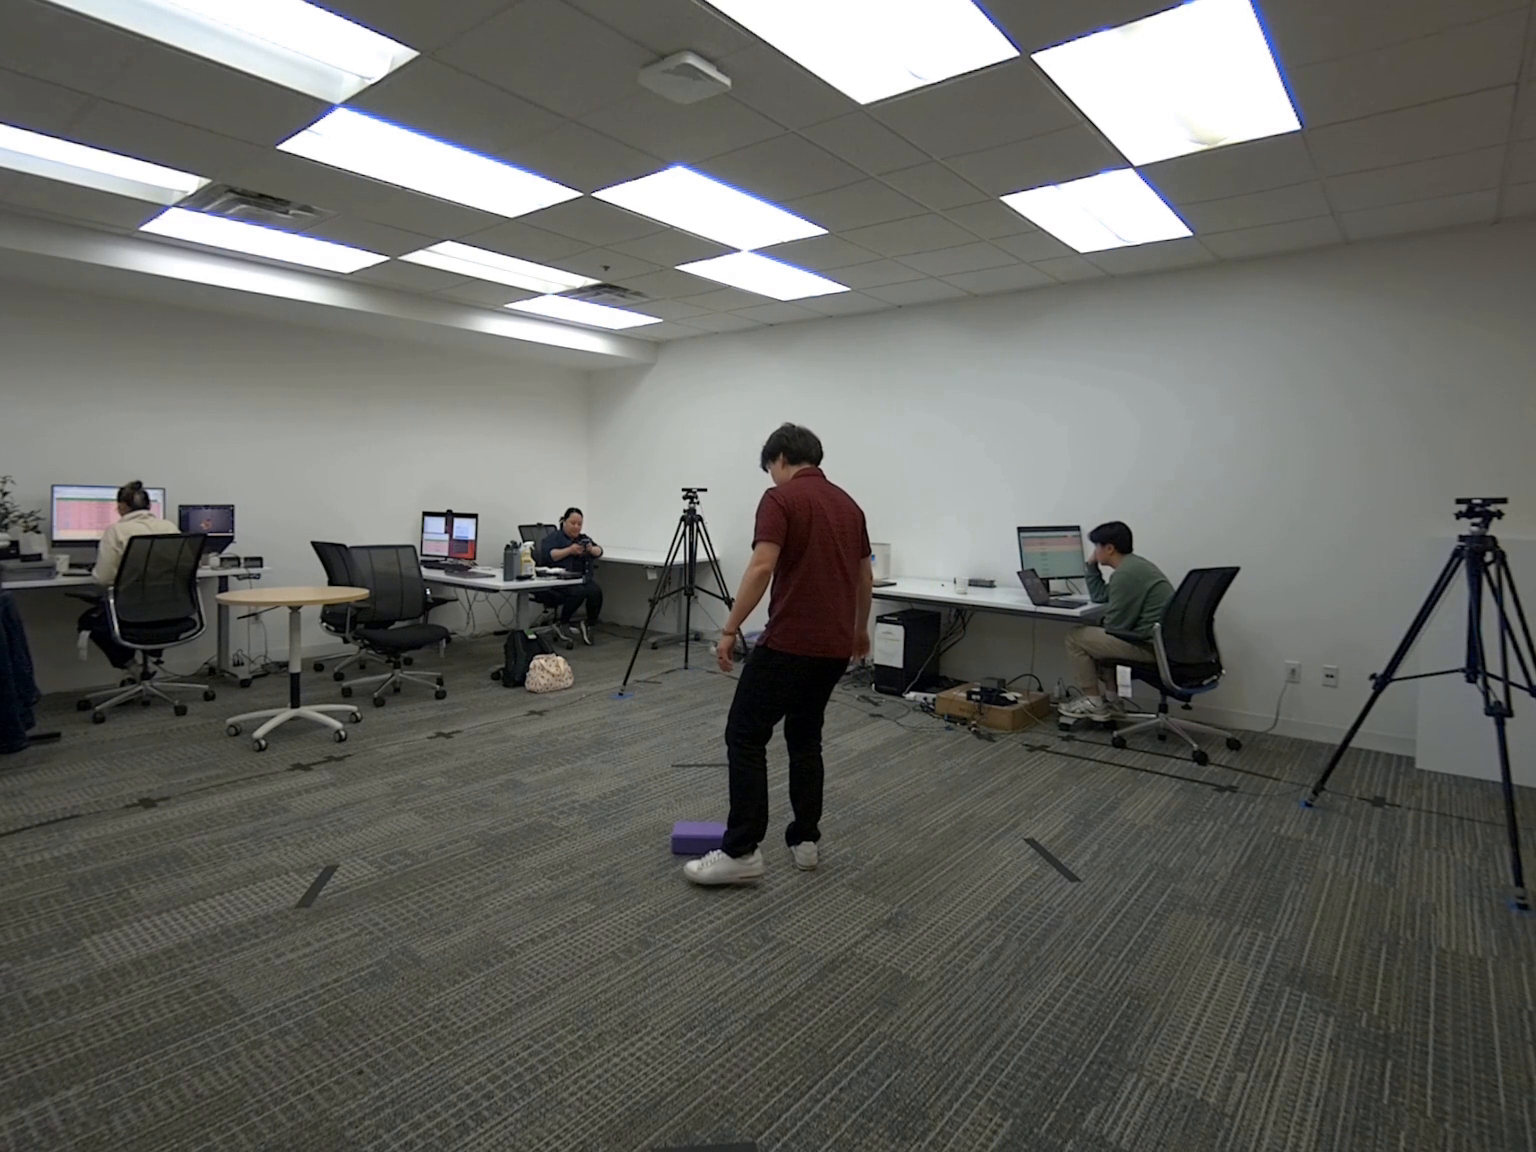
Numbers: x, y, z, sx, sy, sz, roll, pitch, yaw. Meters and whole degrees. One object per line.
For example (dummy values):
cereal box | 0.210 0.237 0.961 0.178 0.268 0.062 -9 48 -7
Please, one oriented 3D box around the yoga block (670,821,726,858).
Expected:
yoga block | -0.267 1.010 3.296 0.230 0.076 0.149 0 5 1
